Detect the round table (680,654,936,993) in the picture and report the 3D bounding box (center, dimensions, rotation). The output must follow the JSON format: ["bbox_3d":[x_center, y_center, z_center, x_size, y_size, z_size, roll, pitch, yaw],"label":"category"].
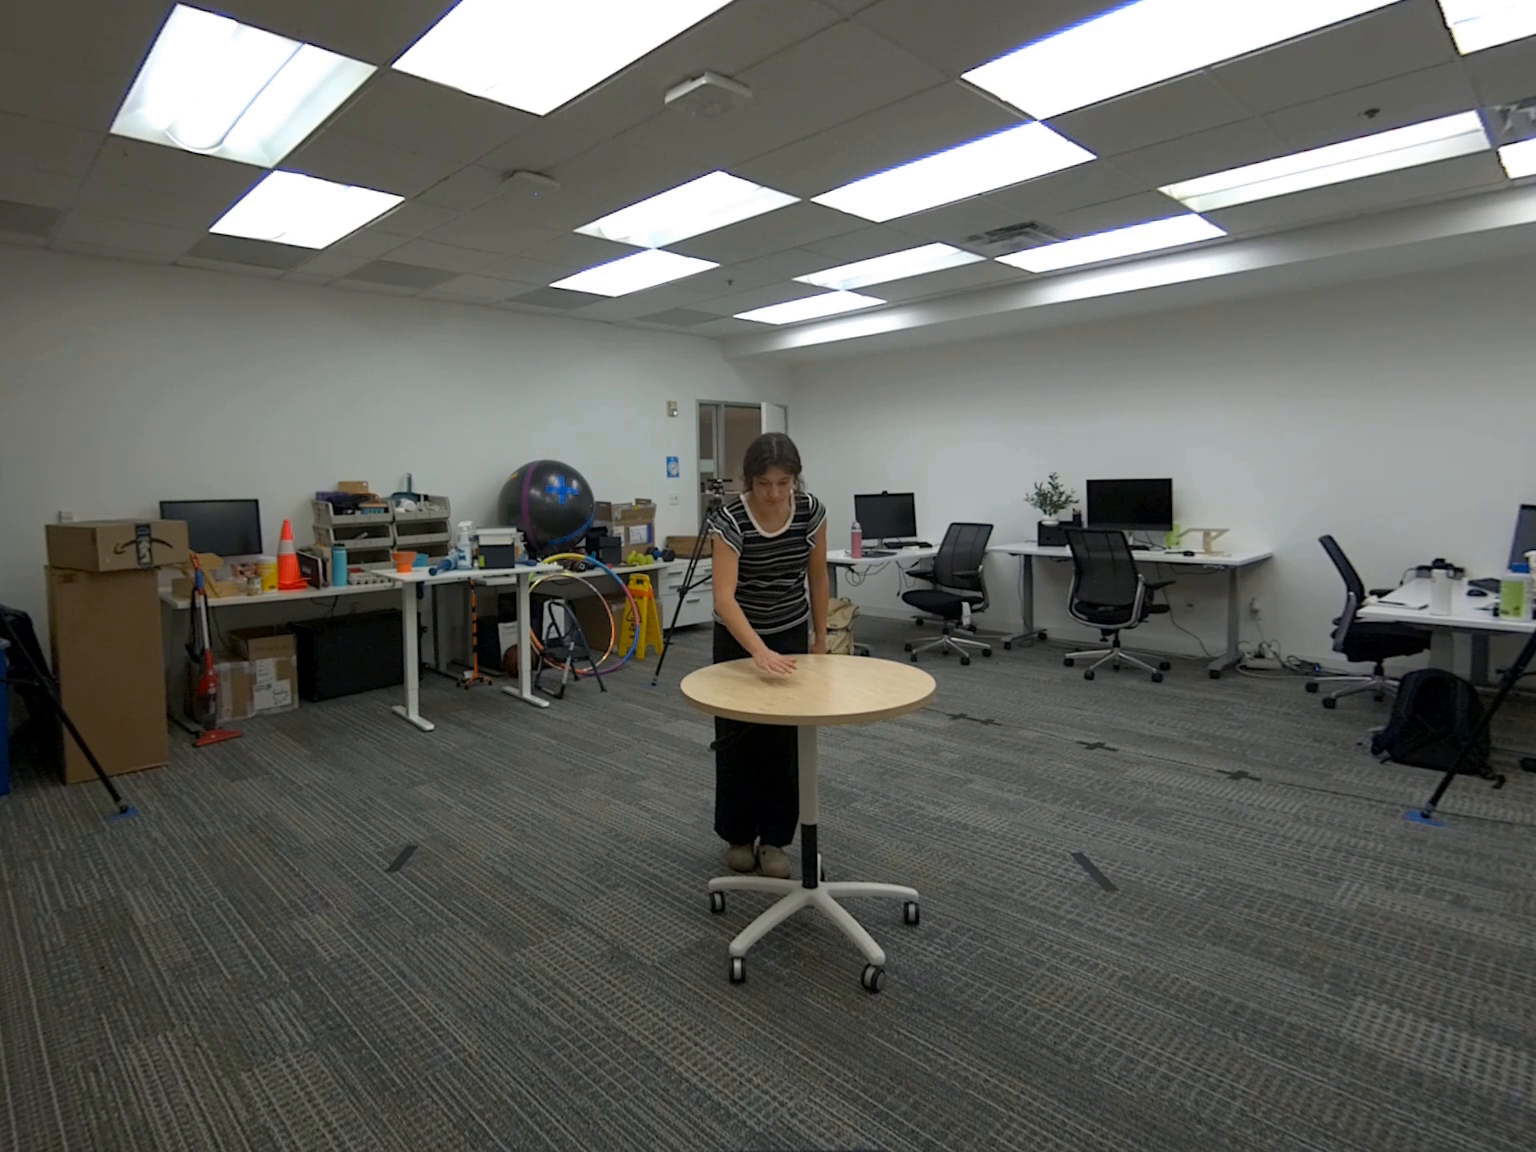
[{"bbox_3d":[0.131,0.712,2.619,0.763,0.791,0.768,-2,5,-2],"label":"round table"}]
